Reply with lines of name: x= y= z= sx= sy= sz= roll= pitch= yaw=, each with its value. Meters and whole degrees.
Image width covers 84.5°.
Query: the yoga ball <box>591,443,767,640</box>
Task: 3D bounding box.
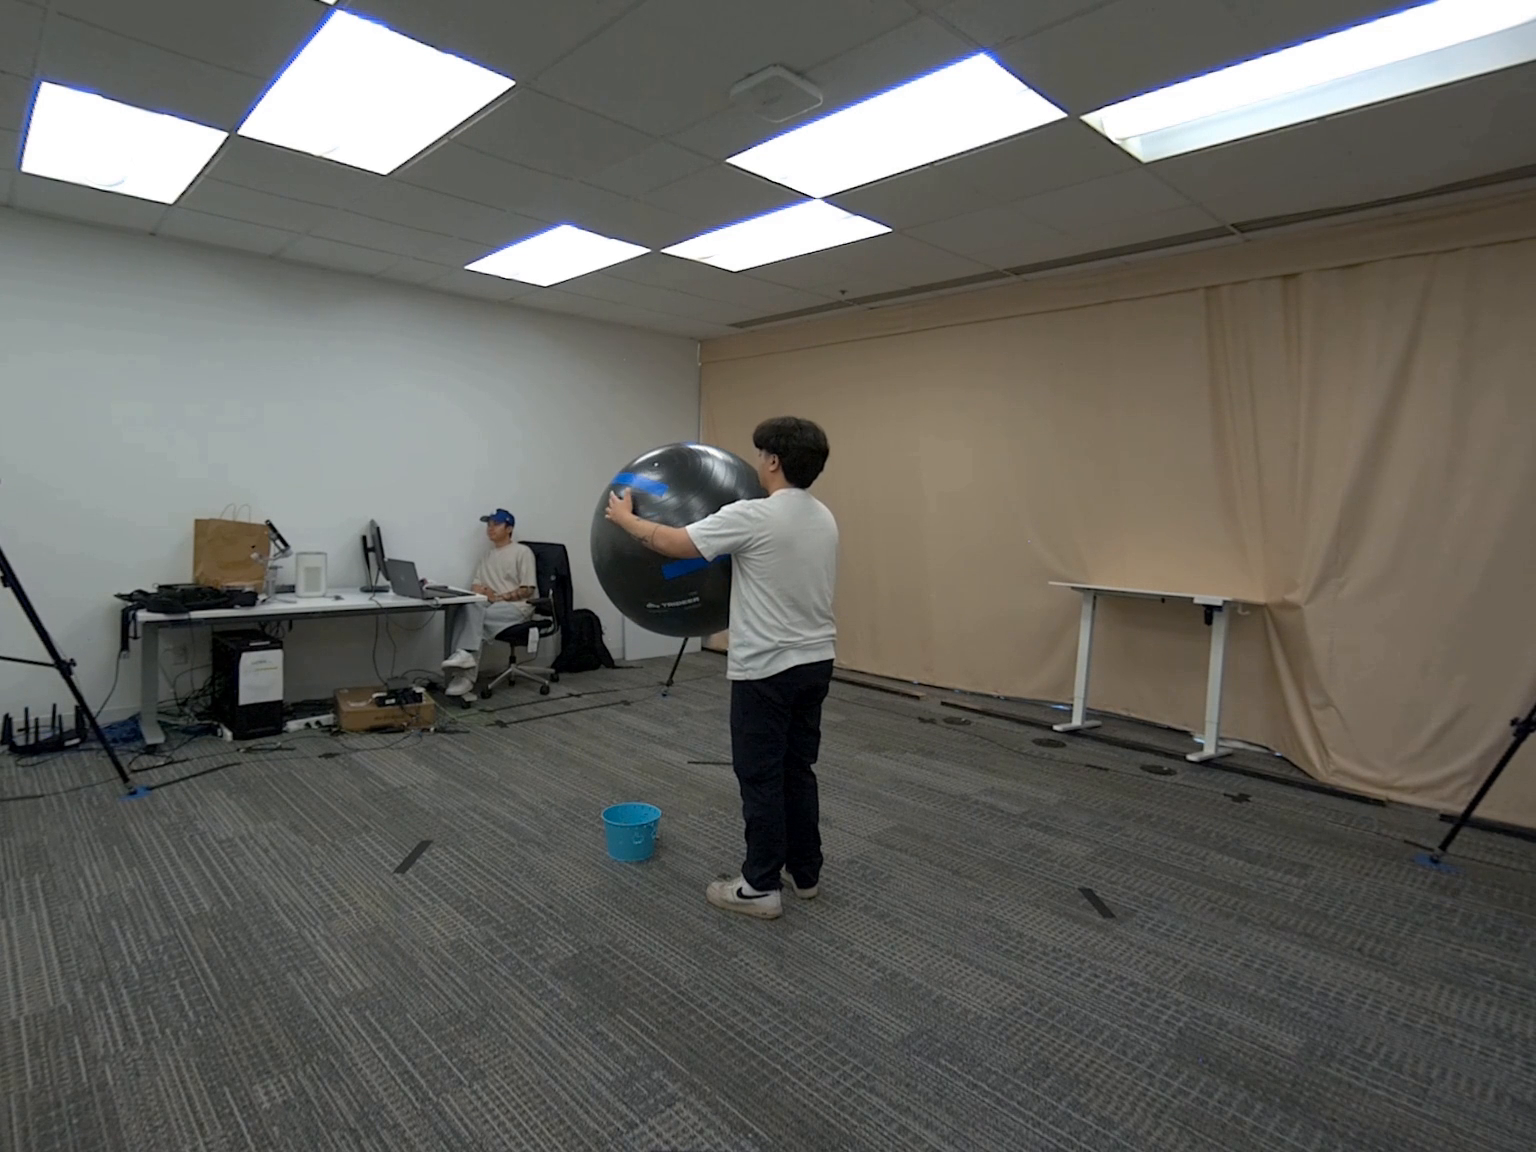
yoga ball: x=-0.315 y=-0.137 z=3.300 sx=0.757 sy=0.756 sz=0.760 roll=1 pitch=4 yaw=-1
